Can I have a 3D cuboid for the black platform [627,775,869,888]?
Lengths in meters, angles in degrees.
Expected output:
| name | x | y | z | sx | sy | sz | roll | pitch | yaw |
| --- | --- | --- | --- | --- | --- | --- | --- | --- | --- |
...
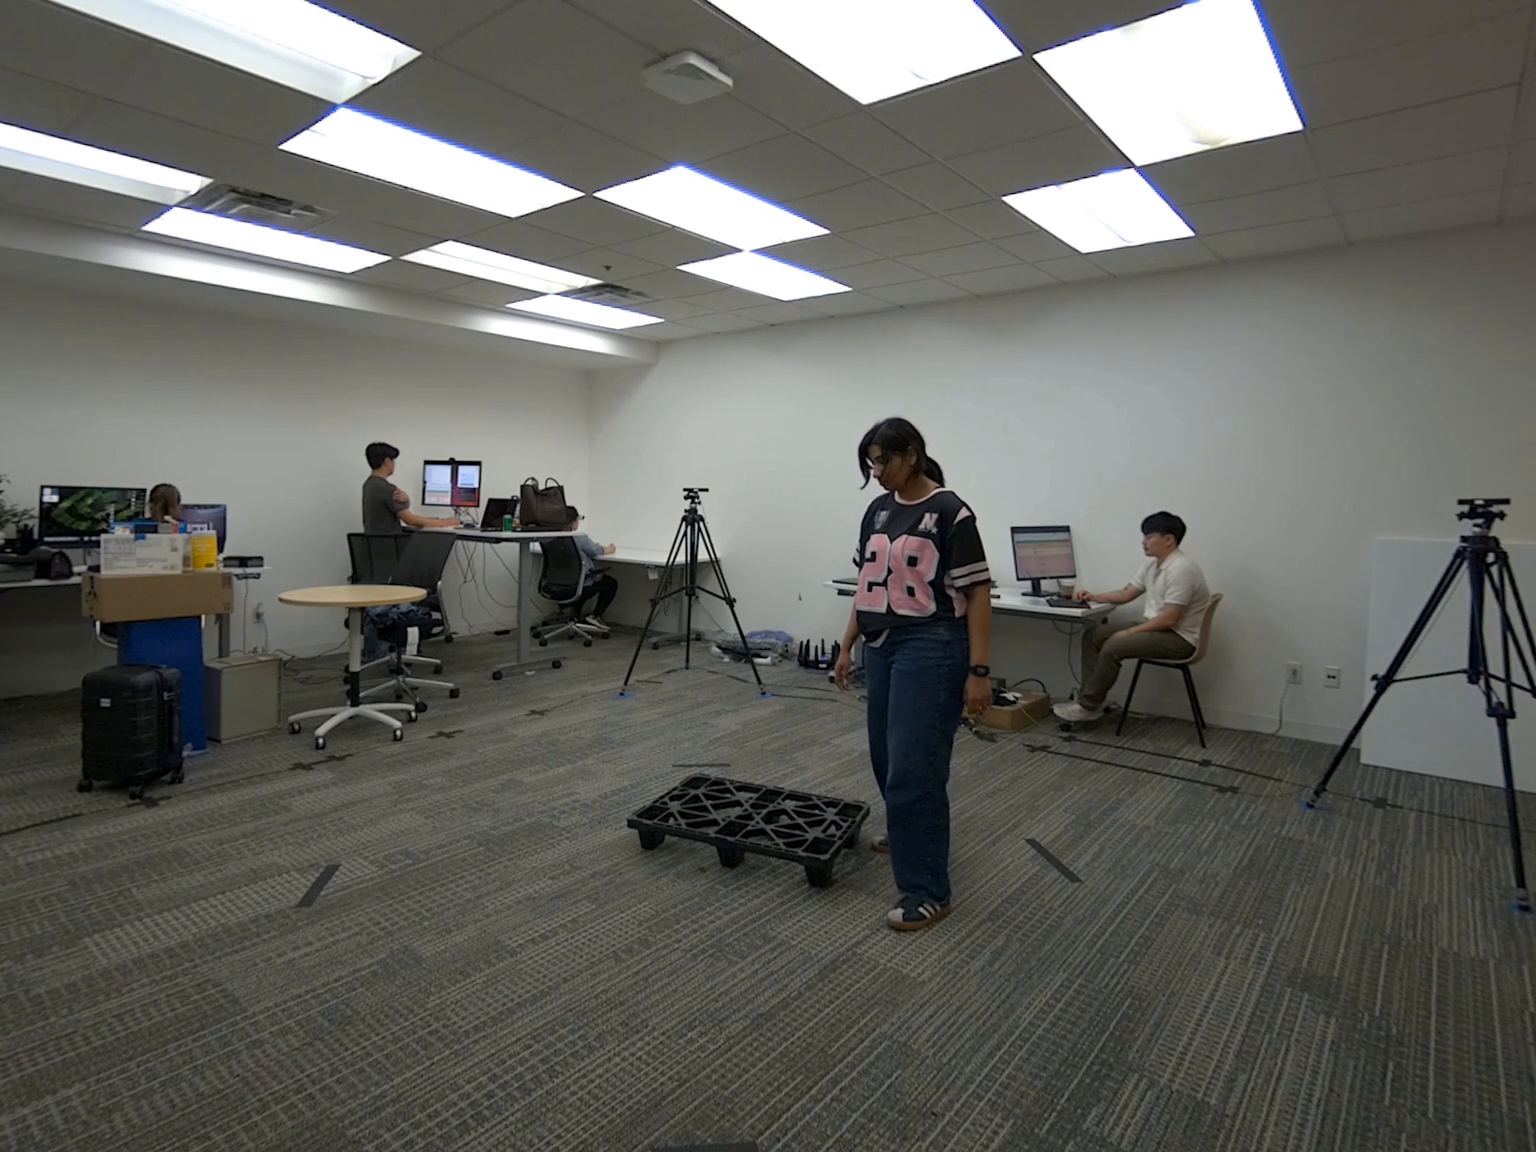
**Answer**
| name | x | y | z | sx | sy | sz | roll | pitch | yaw |
| --- | --- | --- | --- | --- | --- | --- | --- | --- | --- |
| black platform | -0.077 | 0.983 | 3.340 | 0.826 | 0.143 | 0.592 | 4 | 5 | 23 |
